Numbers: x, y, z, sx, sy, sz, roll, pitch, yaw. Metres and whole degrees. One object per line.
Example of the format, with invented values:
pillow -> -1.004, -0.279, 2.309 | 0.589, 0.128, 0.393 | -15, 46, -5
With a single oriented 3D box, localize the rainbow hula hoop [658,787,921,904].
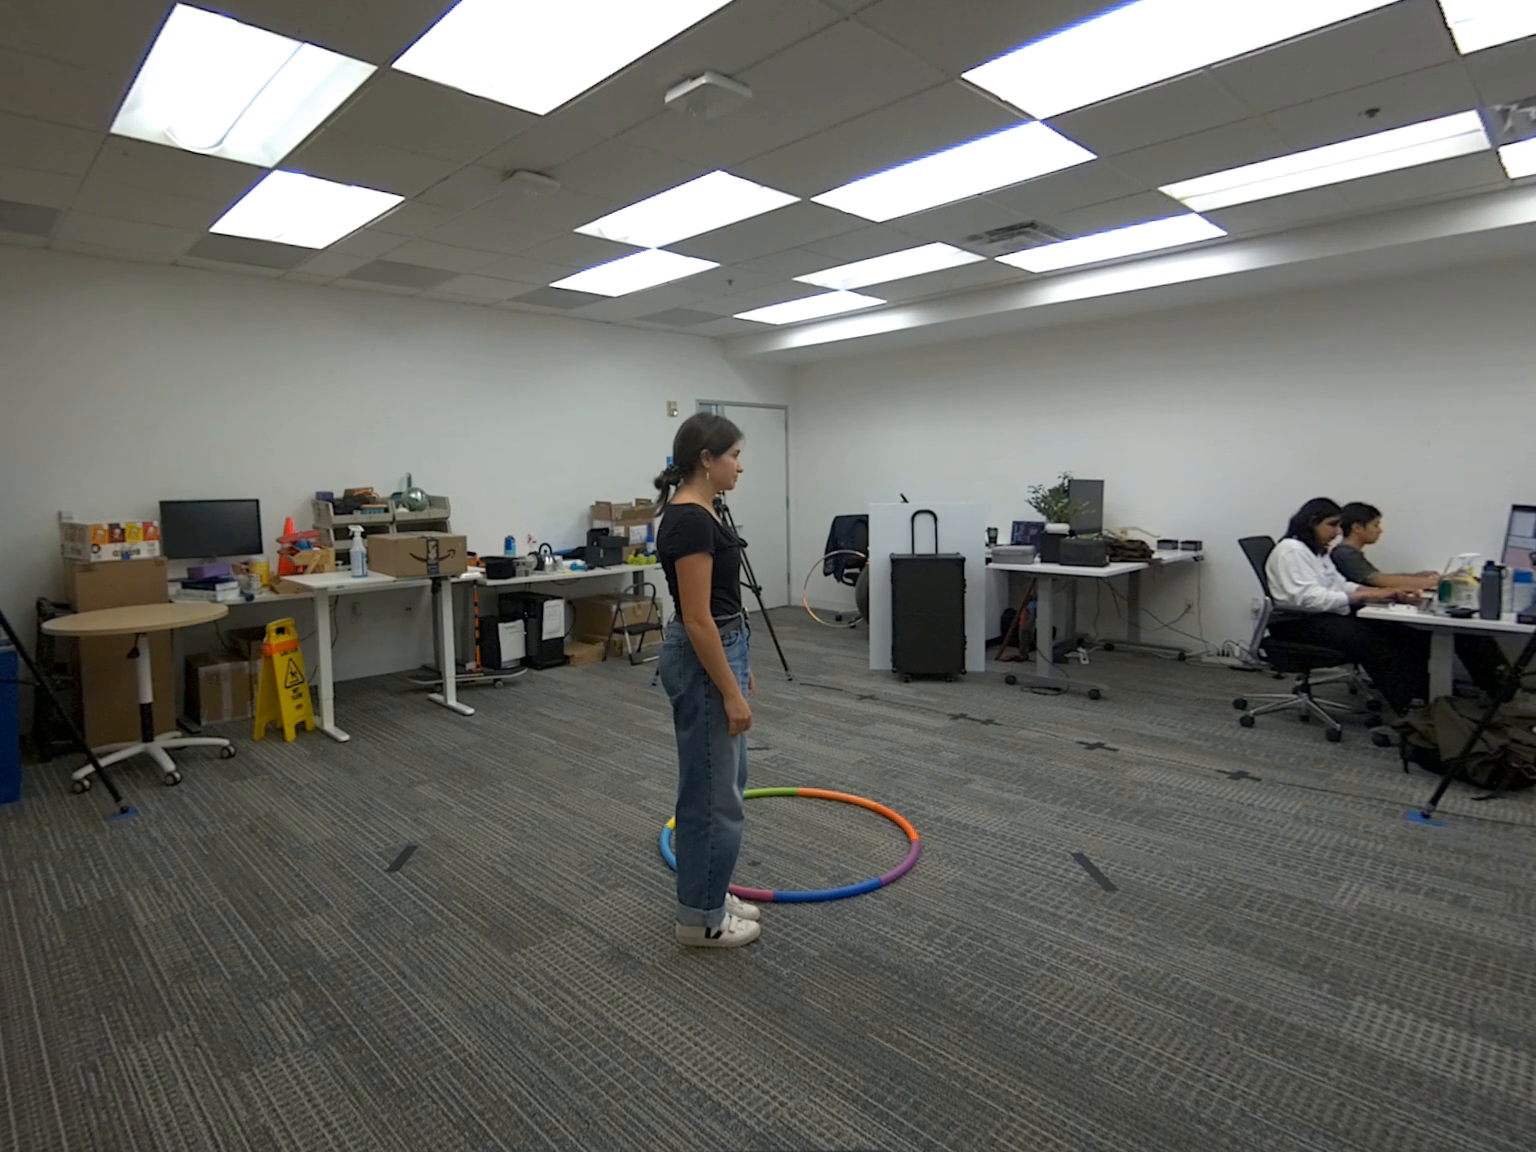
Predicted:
rainbow hula hoop -> 0.074, 0.992, 3.295 | 0.978, 0.035, 0.984 | -1, 7, -2
